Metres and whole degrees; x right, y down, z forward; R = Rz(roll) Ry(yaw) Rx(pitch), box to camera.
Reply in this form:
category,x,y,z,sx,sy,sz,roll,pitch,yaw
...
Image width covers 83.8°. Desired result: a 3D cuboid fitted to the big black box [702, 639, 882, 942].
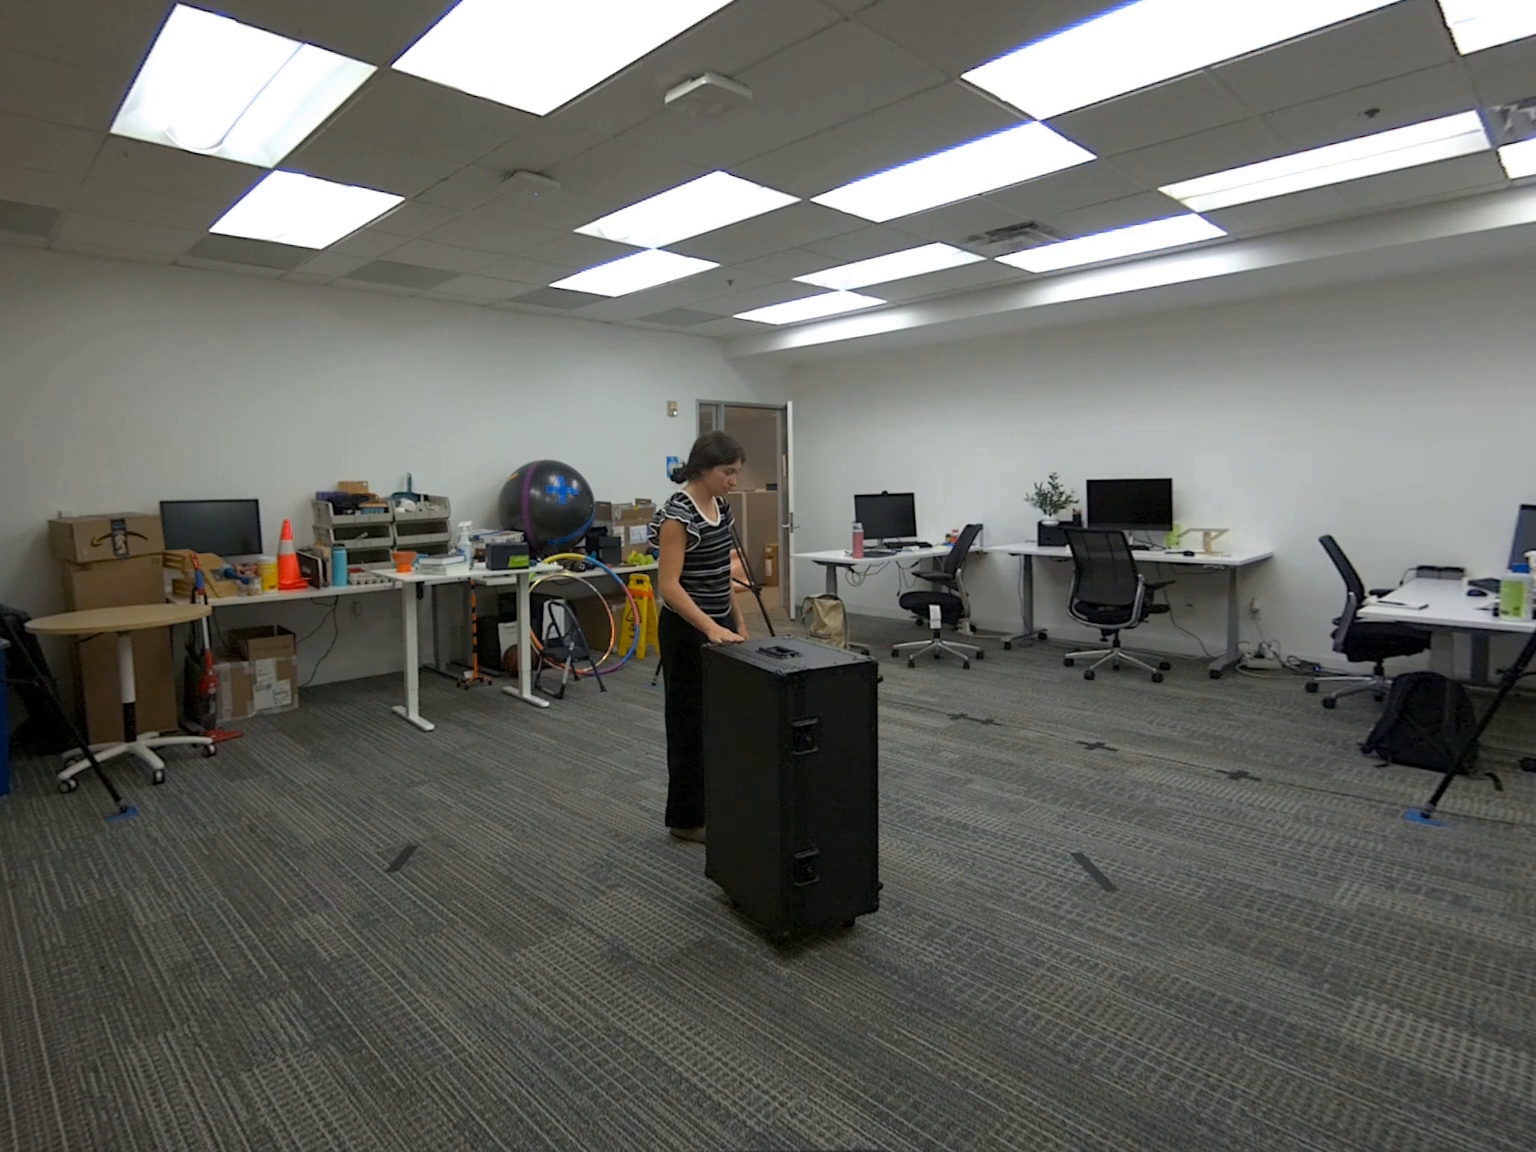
category,x,y,z,sx,sy,sz,roll,pitch,yaw
big black box,0.069,0.662,2.726,0.387,0.859,0.535,-2,4,-29
